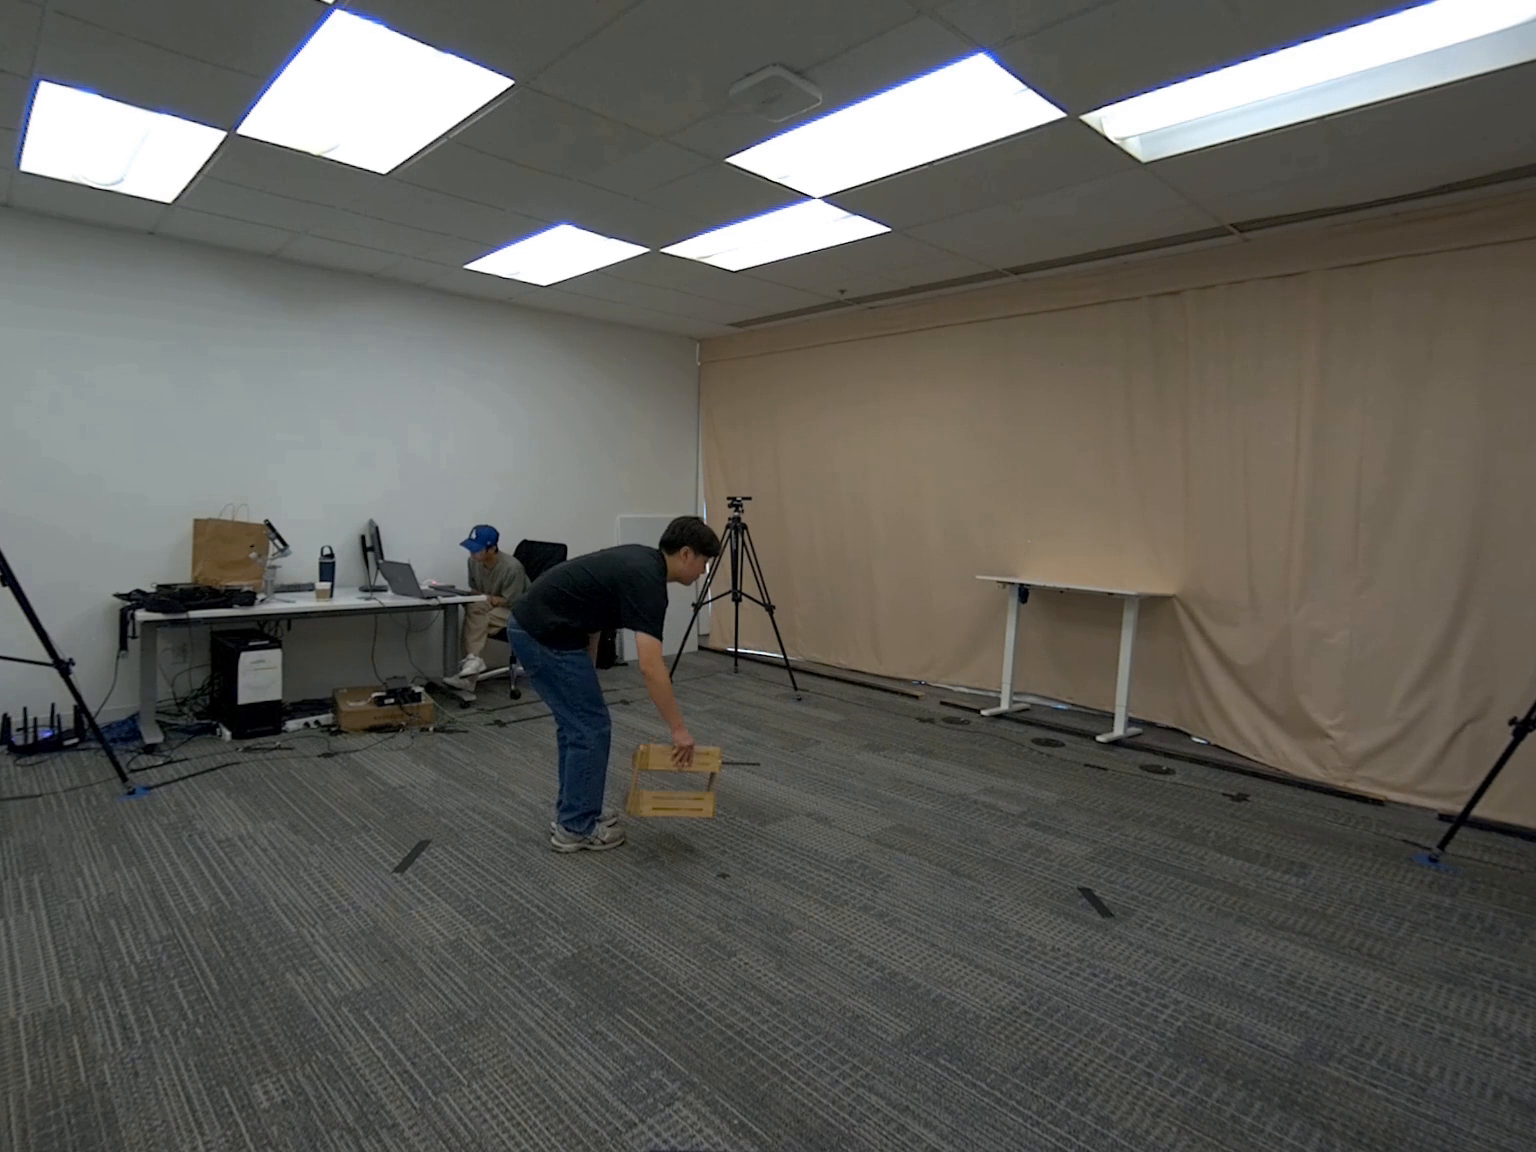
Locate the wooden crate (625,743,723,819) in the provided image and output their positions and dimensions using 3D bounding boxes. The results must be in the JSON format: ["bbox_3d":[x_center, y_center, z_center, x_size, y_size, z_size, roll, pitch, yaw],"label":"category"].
[{"bbox_3d":[-0.380,0.789,3.301,0.319,0.276,0.304,7,-13,-21],"label":"wooden crate"}]
